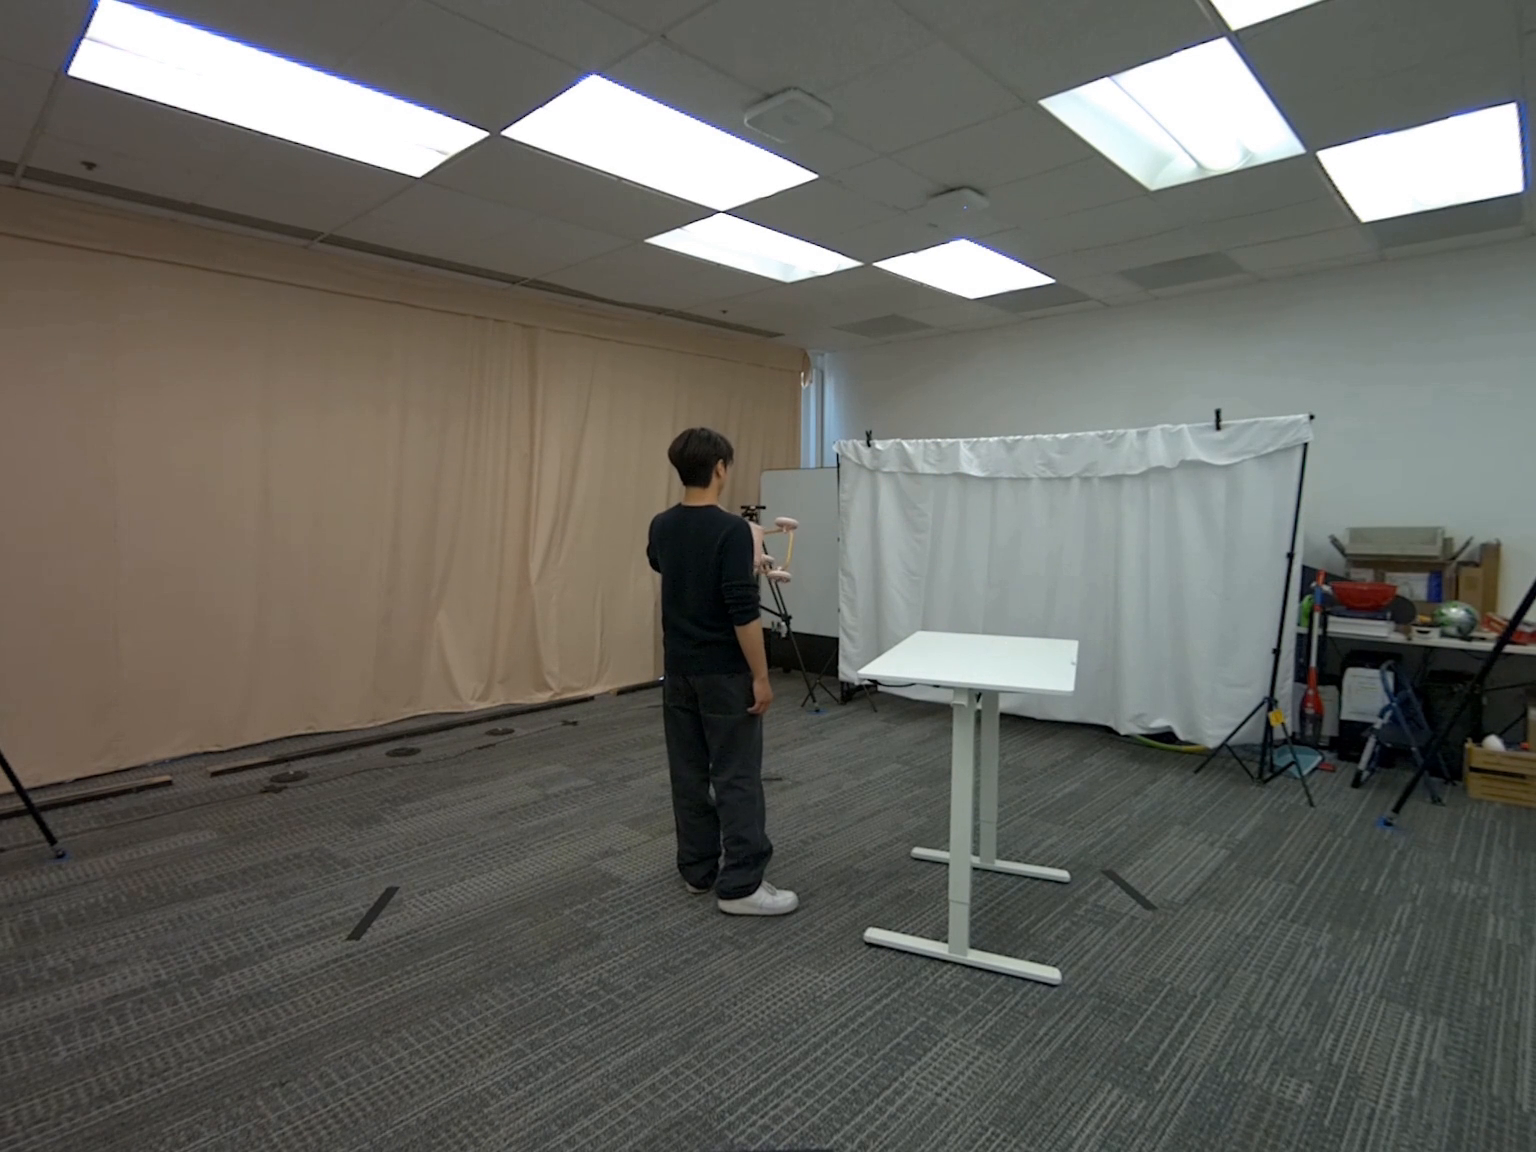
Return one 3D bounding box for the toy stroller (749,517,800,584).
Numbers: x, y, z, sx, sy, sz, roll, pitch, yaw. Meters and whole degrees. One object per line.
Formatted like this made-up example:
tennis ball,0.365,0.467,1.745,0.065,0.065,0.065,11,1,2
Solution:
toy stroller,-0.123,-0.148,3.754,0.519,0.283,0.350,18,-13,-28
